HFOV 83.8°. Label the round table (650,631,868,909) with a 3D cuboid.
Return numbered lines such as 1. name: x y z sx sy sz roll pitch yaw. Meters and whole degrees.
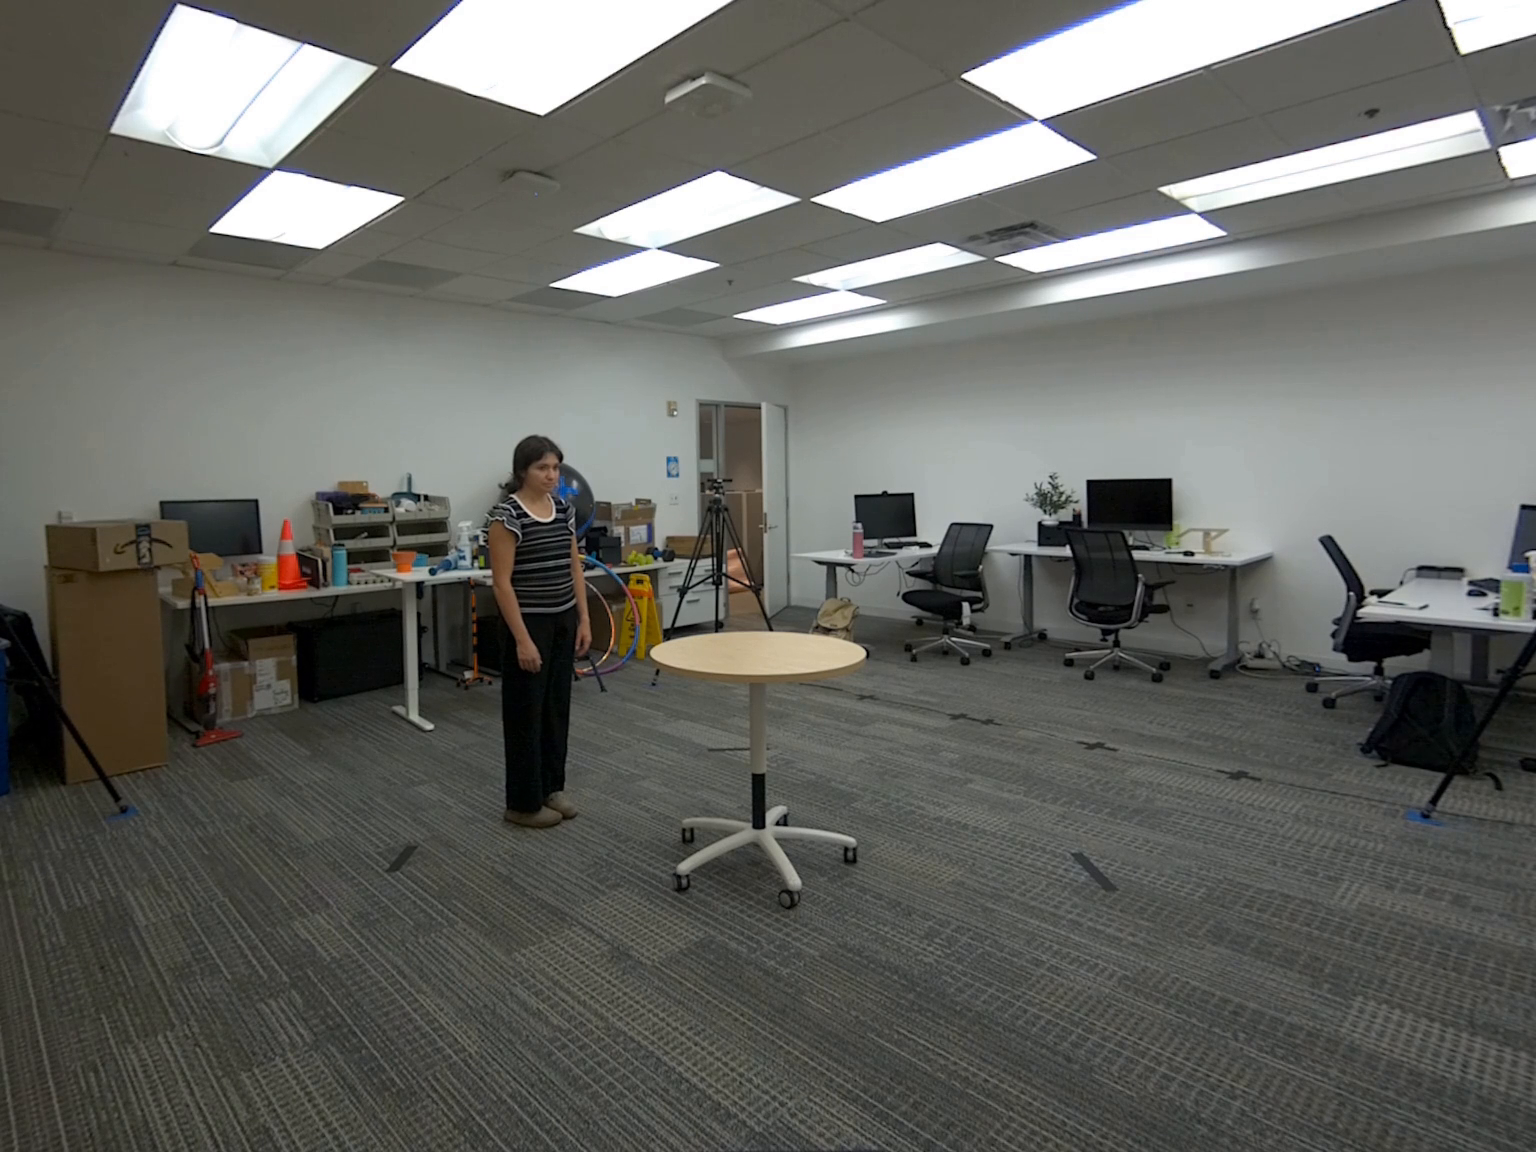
1. round table: -0.037 0.658 3.068 0.763 0.791 0.768 -1 5 -2
